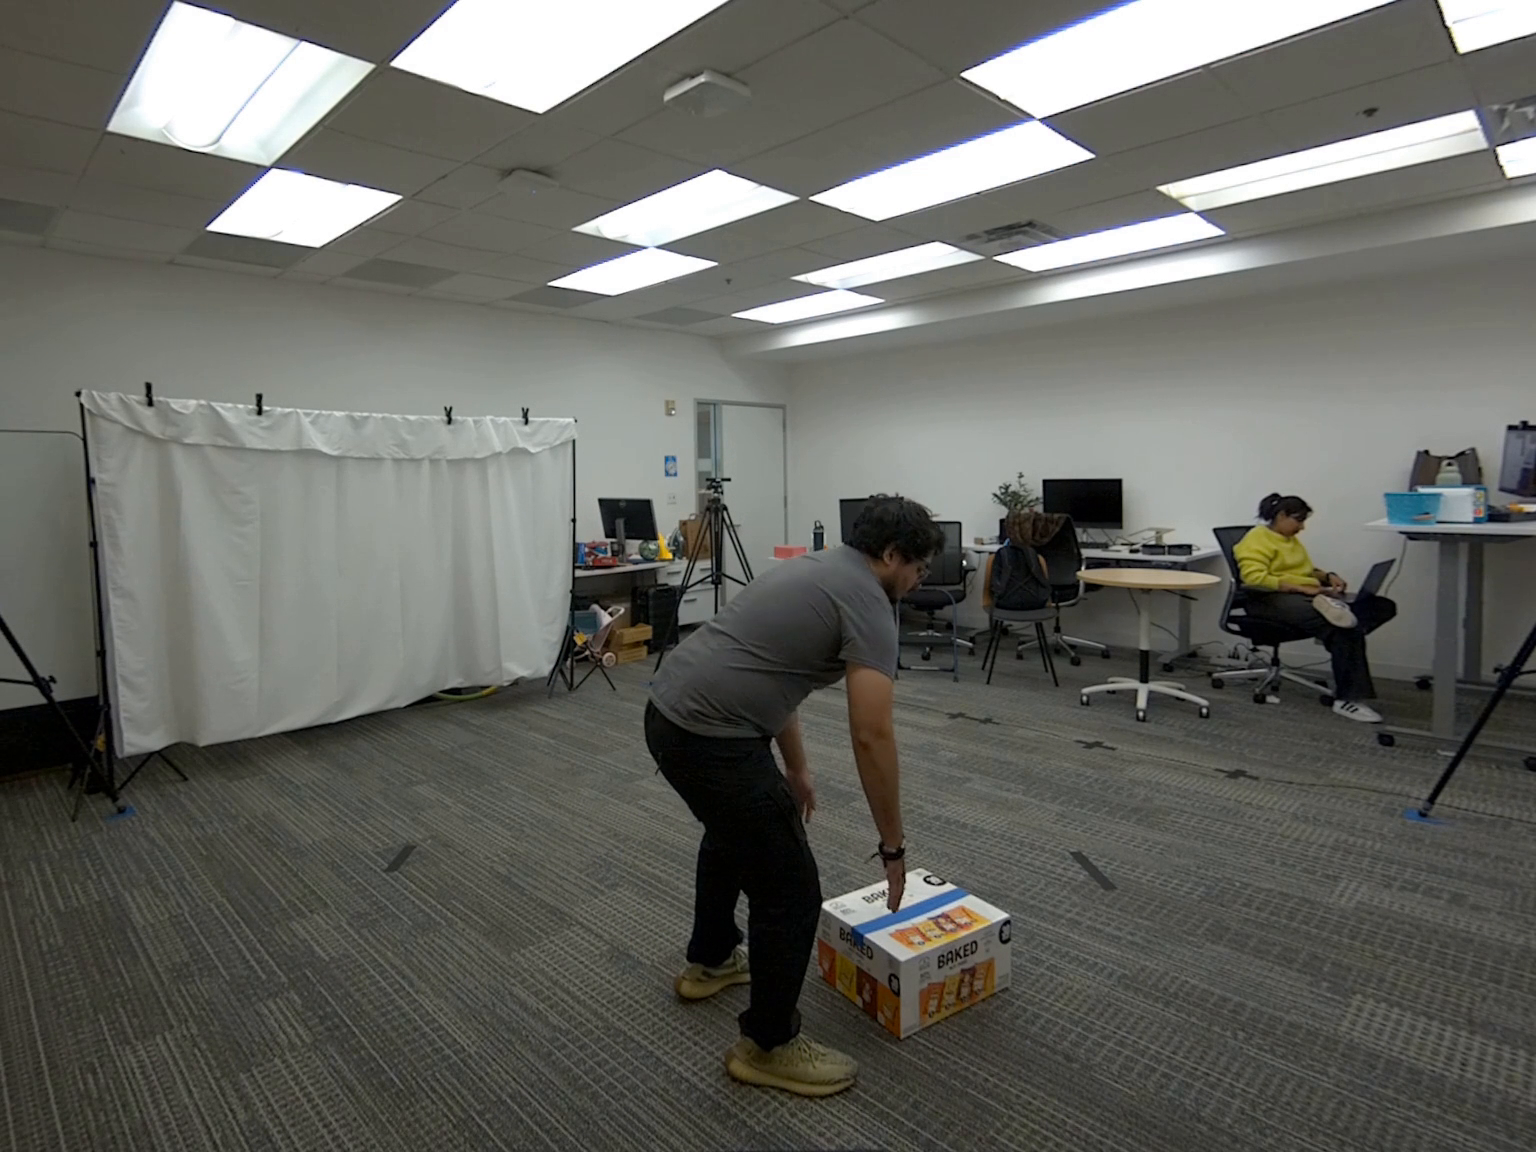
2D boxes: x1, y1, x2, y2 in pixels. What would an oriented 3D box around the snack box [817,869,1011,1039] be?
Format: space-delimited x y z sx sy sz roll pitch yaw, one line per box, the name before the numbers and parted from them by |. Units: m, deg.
snack box | 0.406 1.021 2.355 0.395 0.205 0.350 -5 7 -33
